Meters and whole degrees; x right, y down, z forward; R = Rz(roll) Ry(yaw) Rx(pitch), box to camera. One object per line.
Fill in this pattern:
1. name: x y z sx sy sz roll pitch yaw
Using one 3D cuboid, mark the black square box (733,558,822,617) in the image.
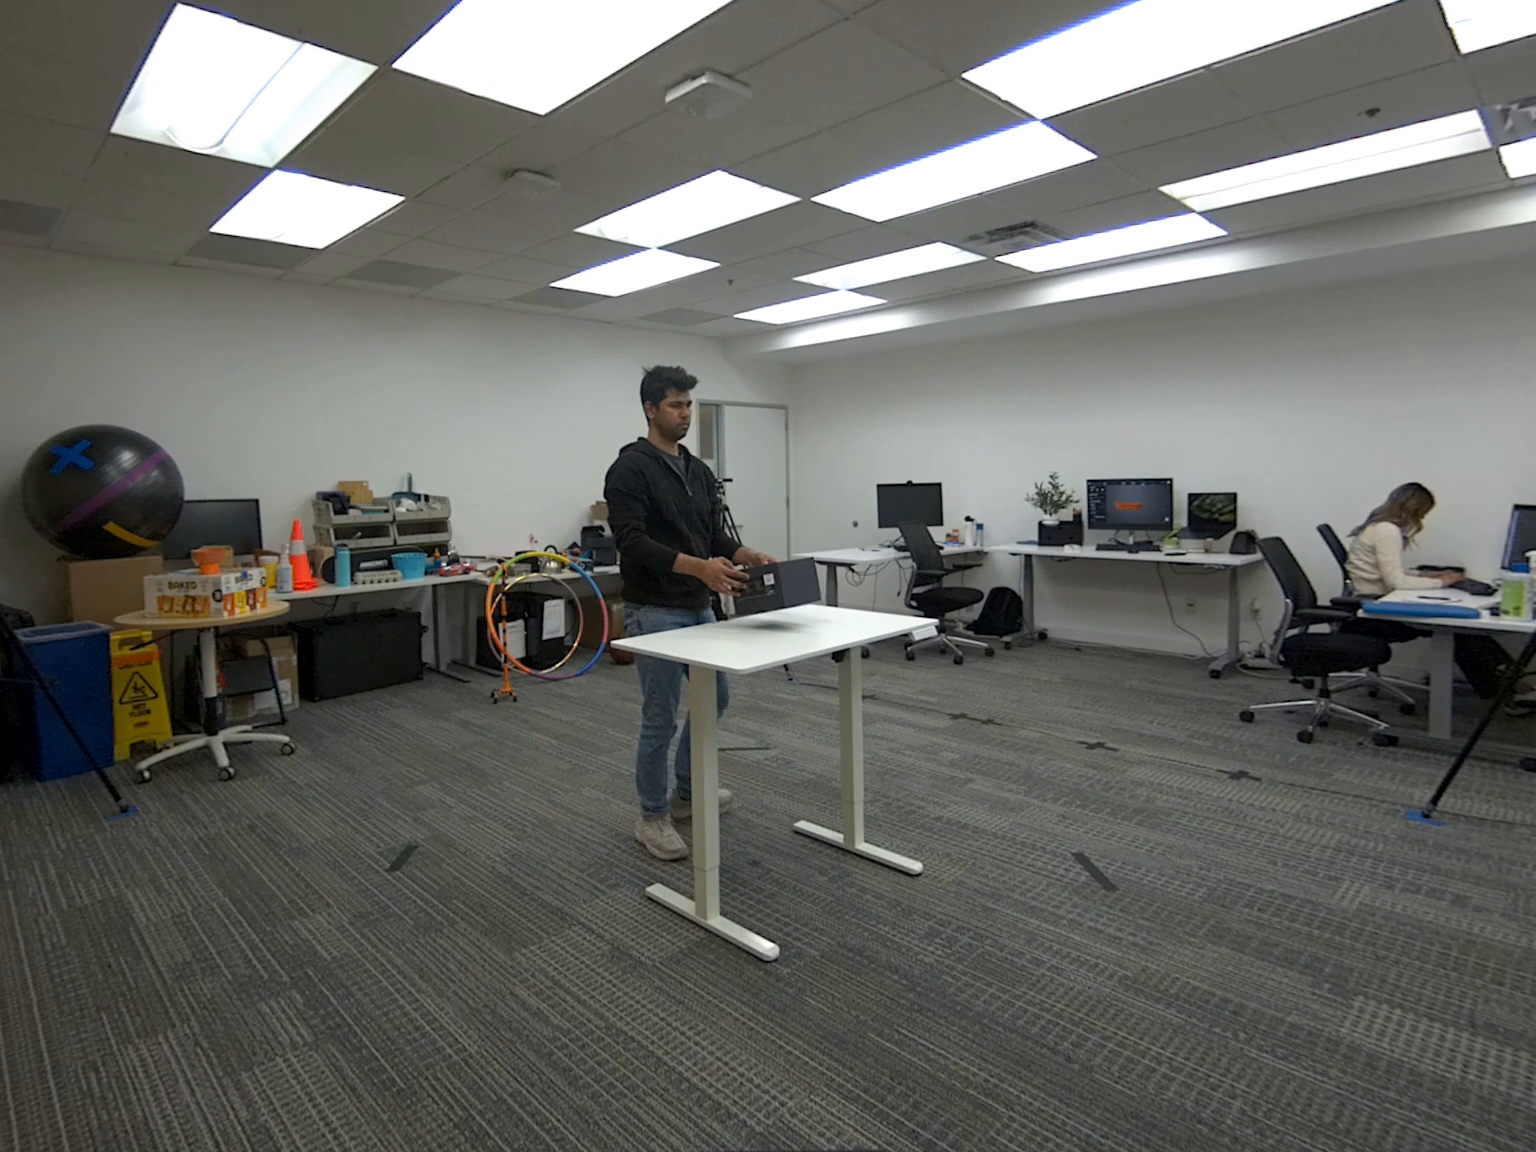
1. black square box: 0.031 0.034 2.986 0.222 0.156 0.222 -12 -2 37
